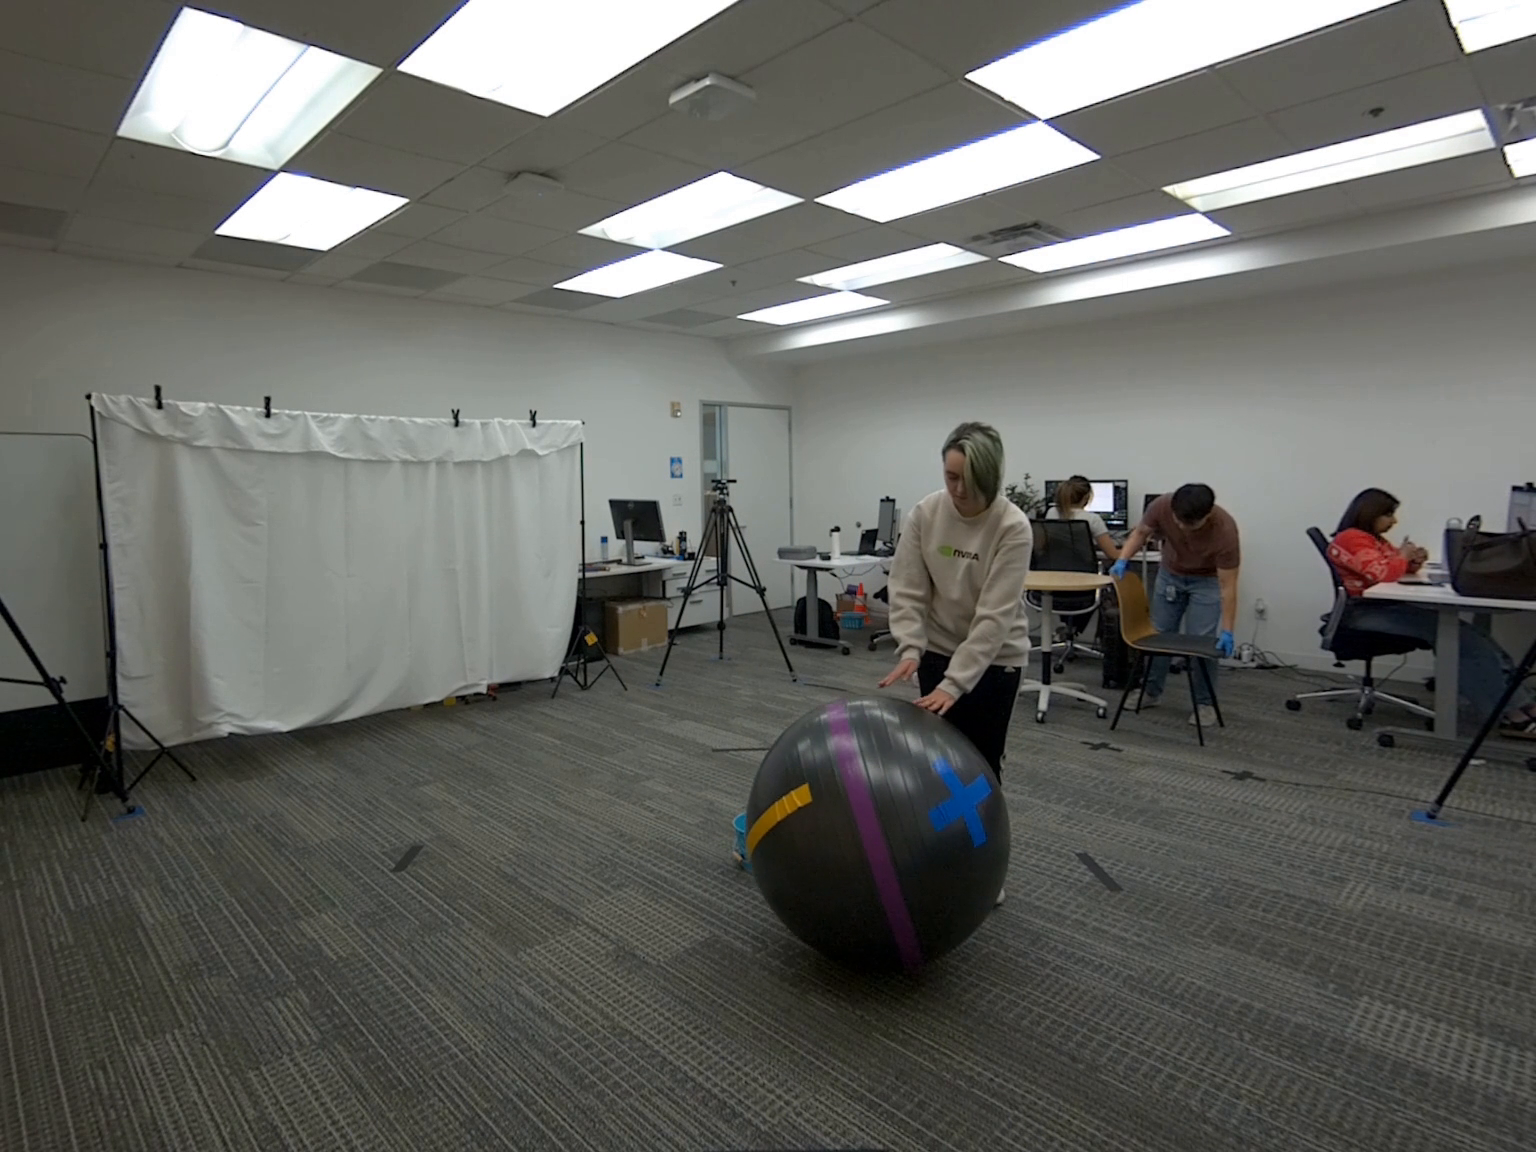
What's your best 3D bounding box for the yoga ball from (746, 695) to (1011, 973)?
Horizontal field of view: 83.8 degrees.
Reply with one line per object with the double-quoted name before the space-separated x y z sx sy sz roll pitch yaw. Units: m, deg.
"yoga ball" 0.314 0.739 2.507 0.757 0.755 0.762 -1 5 -2
